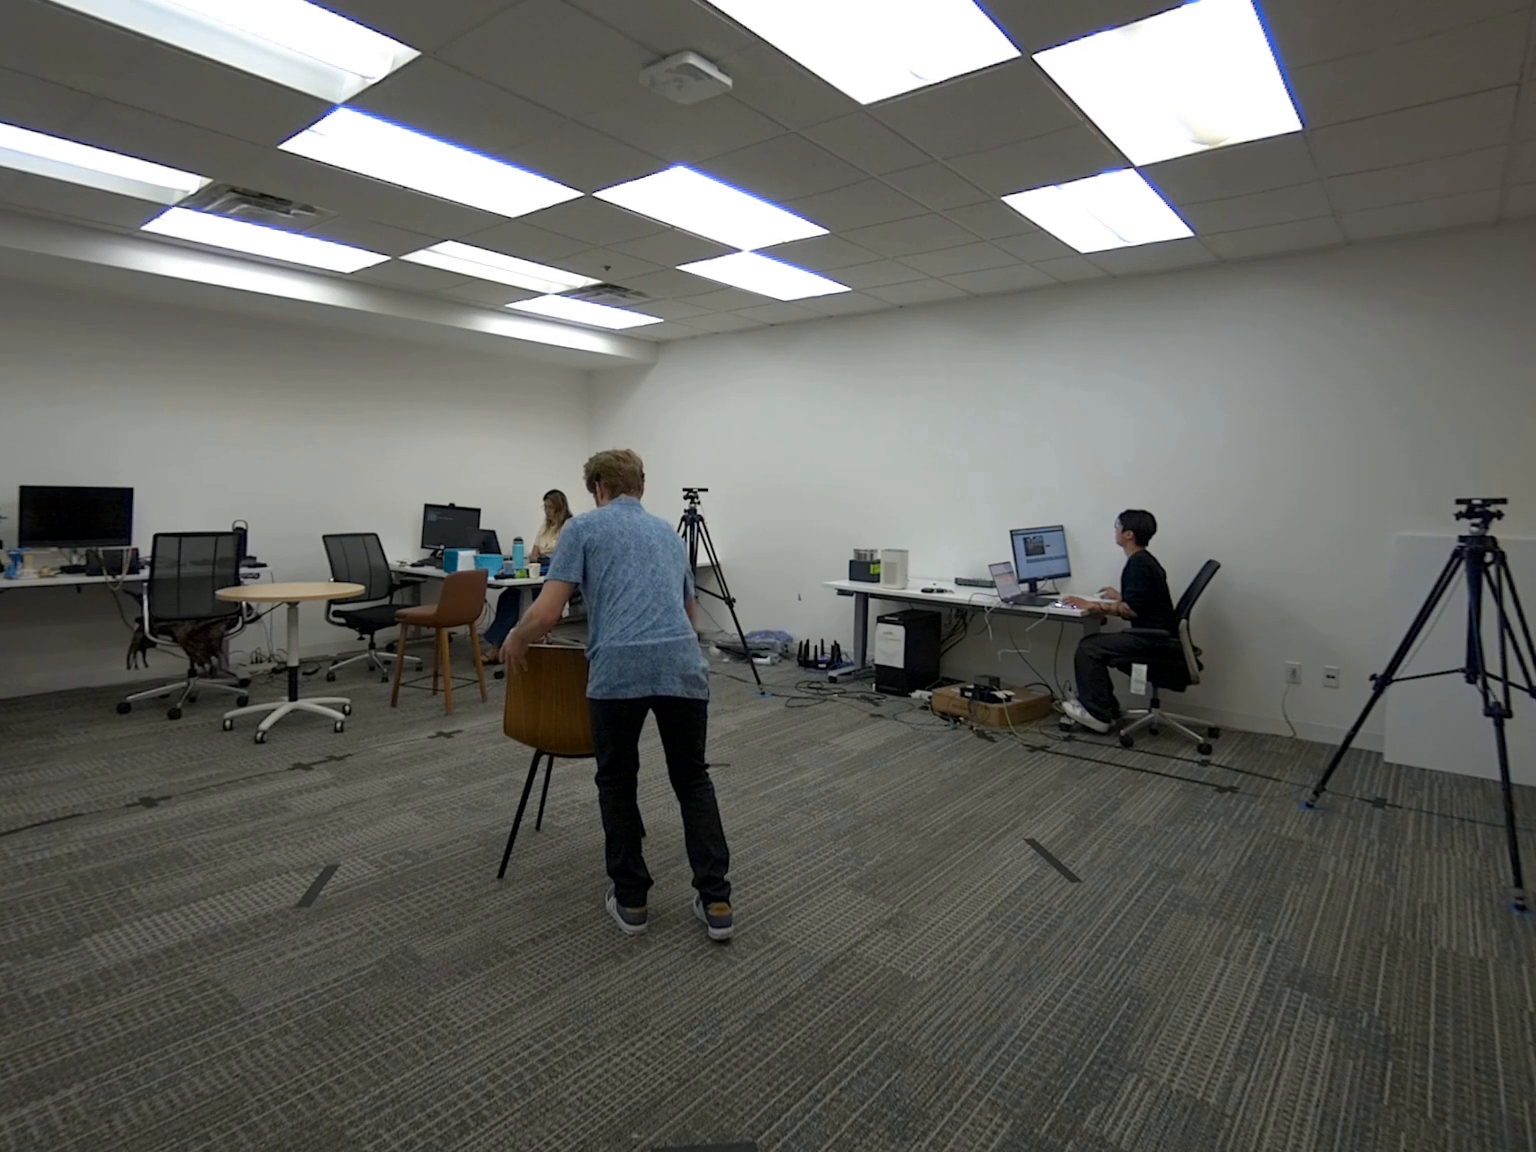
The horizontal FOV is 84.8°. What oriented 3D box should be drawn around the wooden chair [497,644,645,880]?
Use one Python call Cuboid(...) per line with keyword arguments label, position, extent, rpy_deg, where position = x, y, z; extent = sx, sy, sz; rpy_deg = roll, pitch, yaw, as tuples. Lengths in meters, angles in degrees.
Cuboid(label="wooden chair", position=(-0.730, 0.623, 3.189), extent=(0.481, 0.871, 0.524), rpy_deg=(1, 7, 4))
